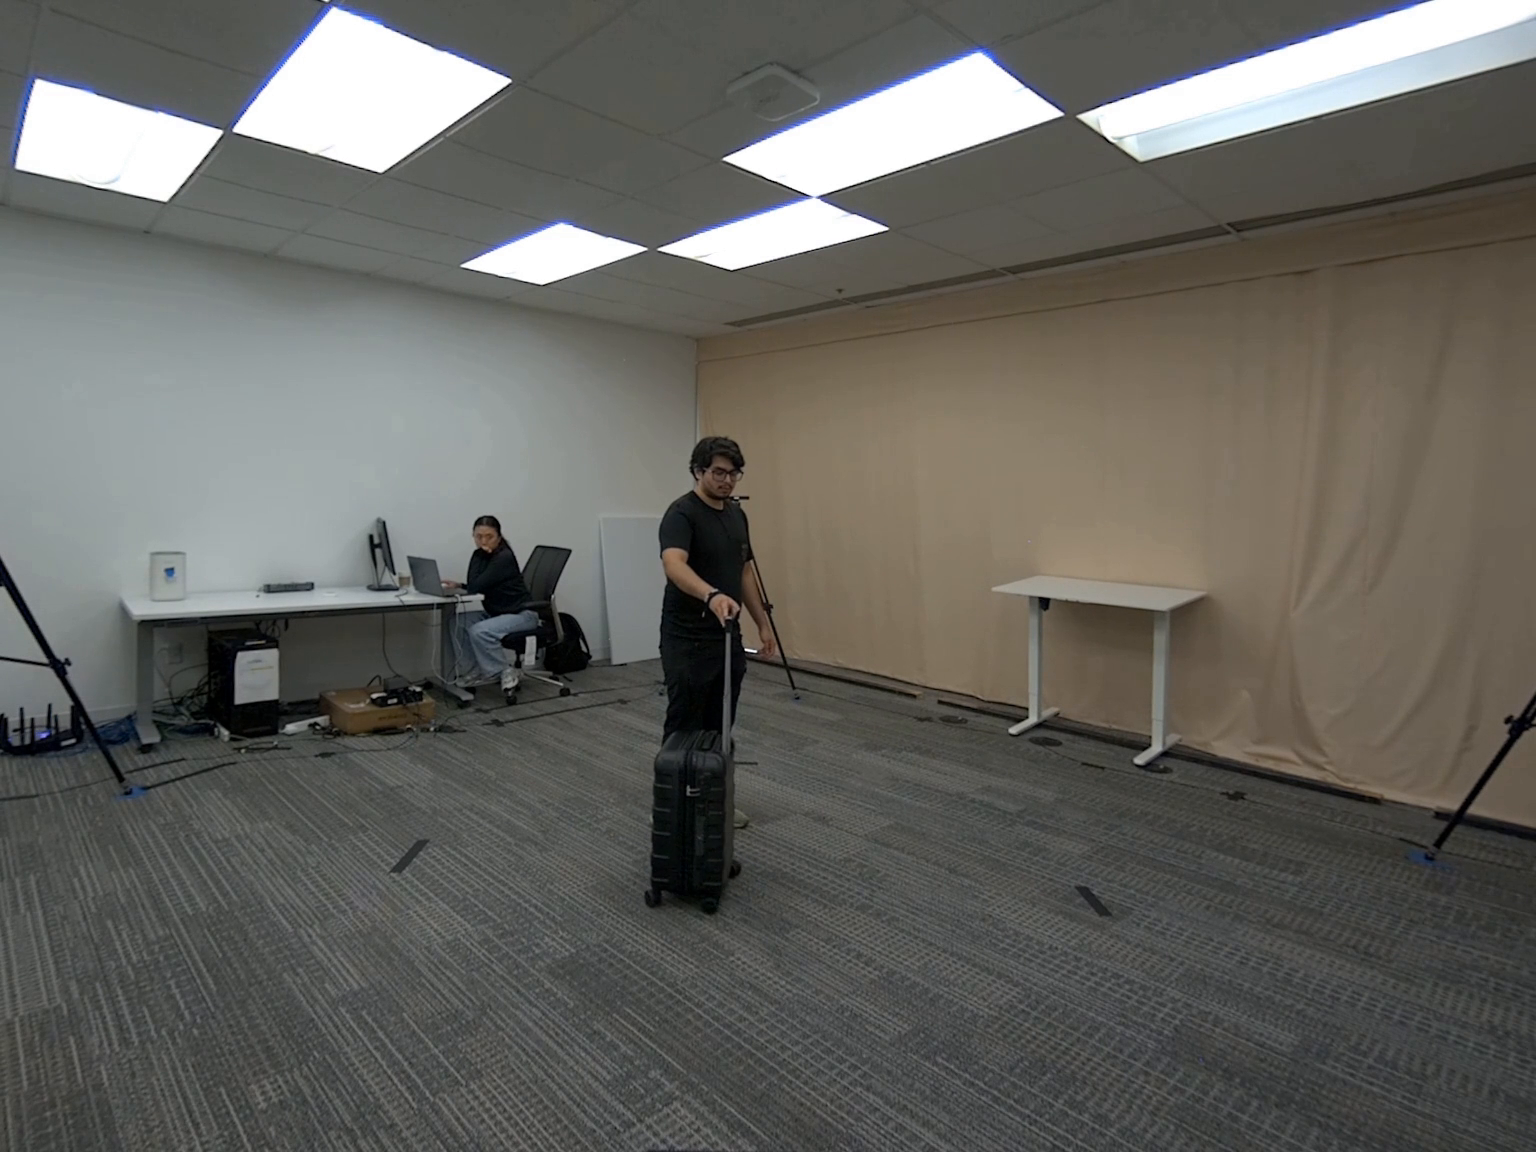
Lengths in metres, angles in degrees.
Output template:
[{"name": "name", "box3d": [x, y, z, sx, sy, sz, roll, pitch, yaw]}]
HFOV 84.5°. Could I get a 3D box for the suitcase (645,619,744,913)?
[{"name": "suitcase", "box3d": [-0.263, 0.643, 2.952, 0.259, 0.976, 0.382, 0, 3, 7]}]
